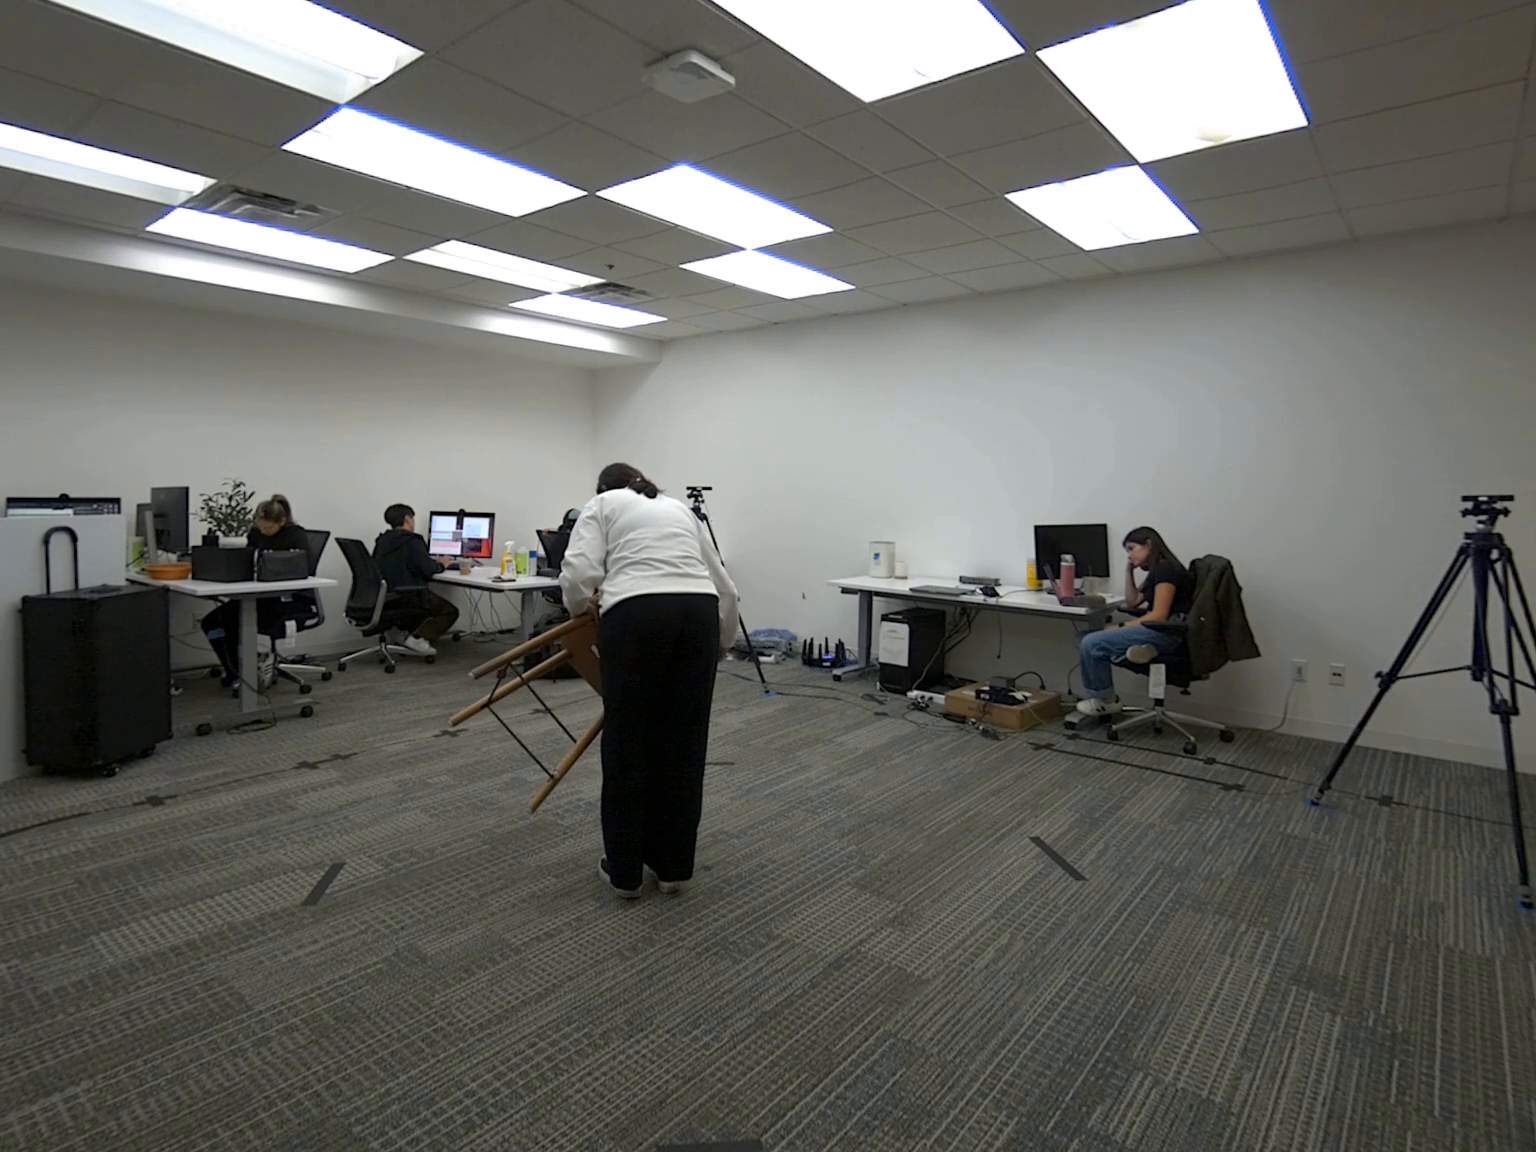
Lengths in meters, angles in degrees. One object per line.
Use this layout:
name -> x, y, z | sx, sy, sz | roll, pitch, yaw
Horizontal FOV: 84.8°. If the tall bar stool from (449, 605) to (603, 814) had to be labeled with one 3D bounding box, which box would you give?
tall bar stool -> -0.672, 0.383, 3.188 | 0.882, 0.474, 0.454 | -38, -11, -43
